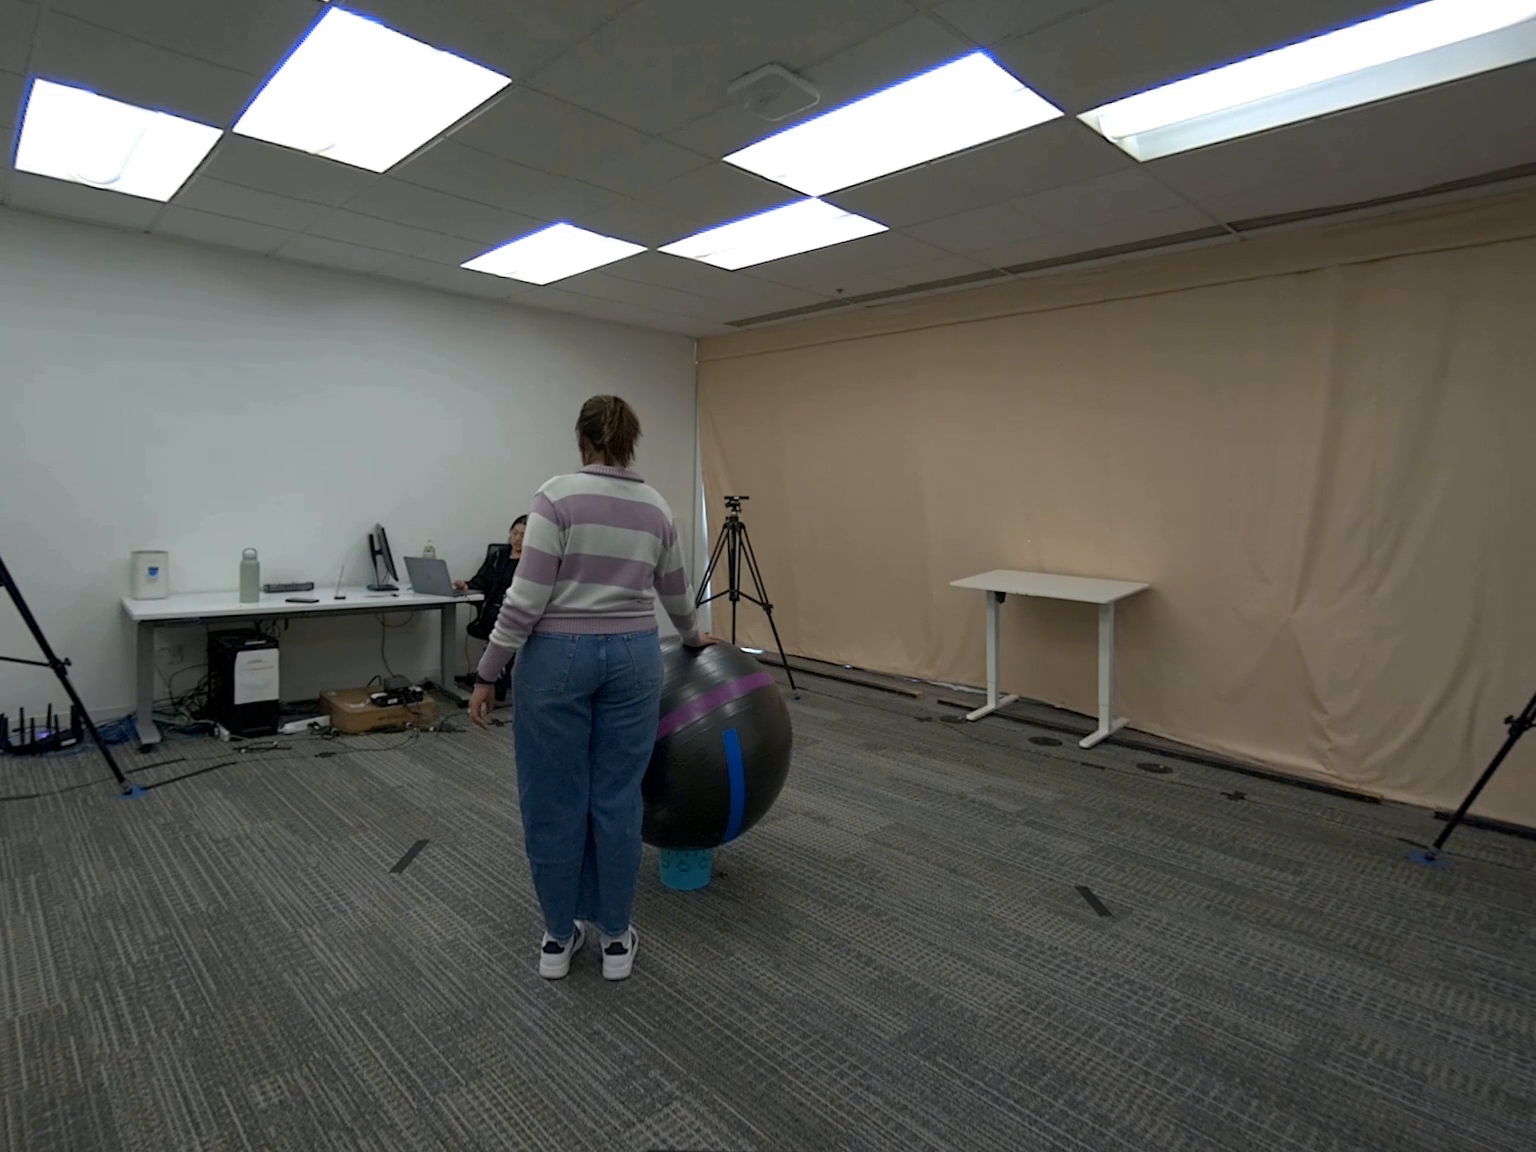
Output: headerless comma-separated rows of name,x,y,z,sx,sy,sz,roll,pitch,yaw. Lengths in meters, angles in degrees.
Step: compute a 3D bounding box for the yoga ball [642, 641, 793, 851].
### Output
yoga ball,-0.291,0.596,3.046,0.757,0.756,0.761,1,4,-1
